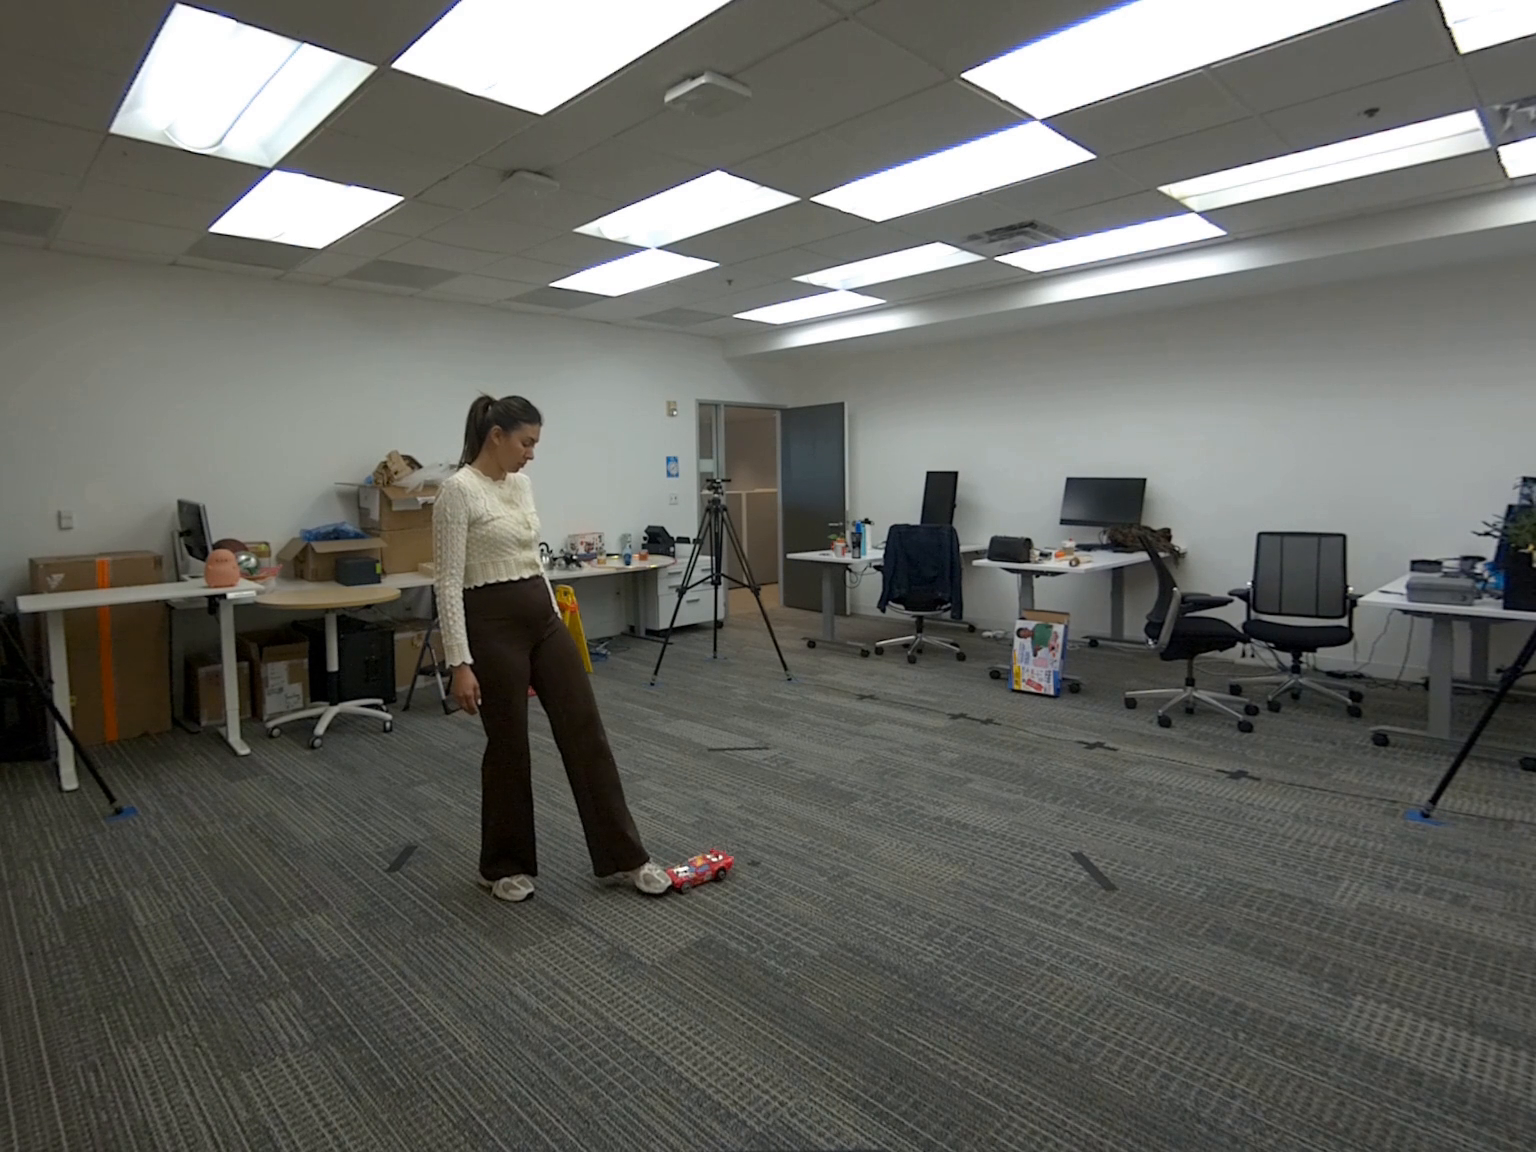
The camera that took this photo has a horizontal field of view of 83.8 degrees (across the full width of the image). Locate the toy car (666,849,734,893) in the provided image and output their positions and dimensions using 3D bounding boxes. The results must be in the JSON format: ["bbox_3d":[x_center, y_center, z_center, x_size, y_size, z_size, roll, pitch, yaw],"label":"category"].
[{"bbox_3d":[-0.236,1.030,2.982,0.250,0.082,0.134,-20,16,-33],"label":"toy car"}]
